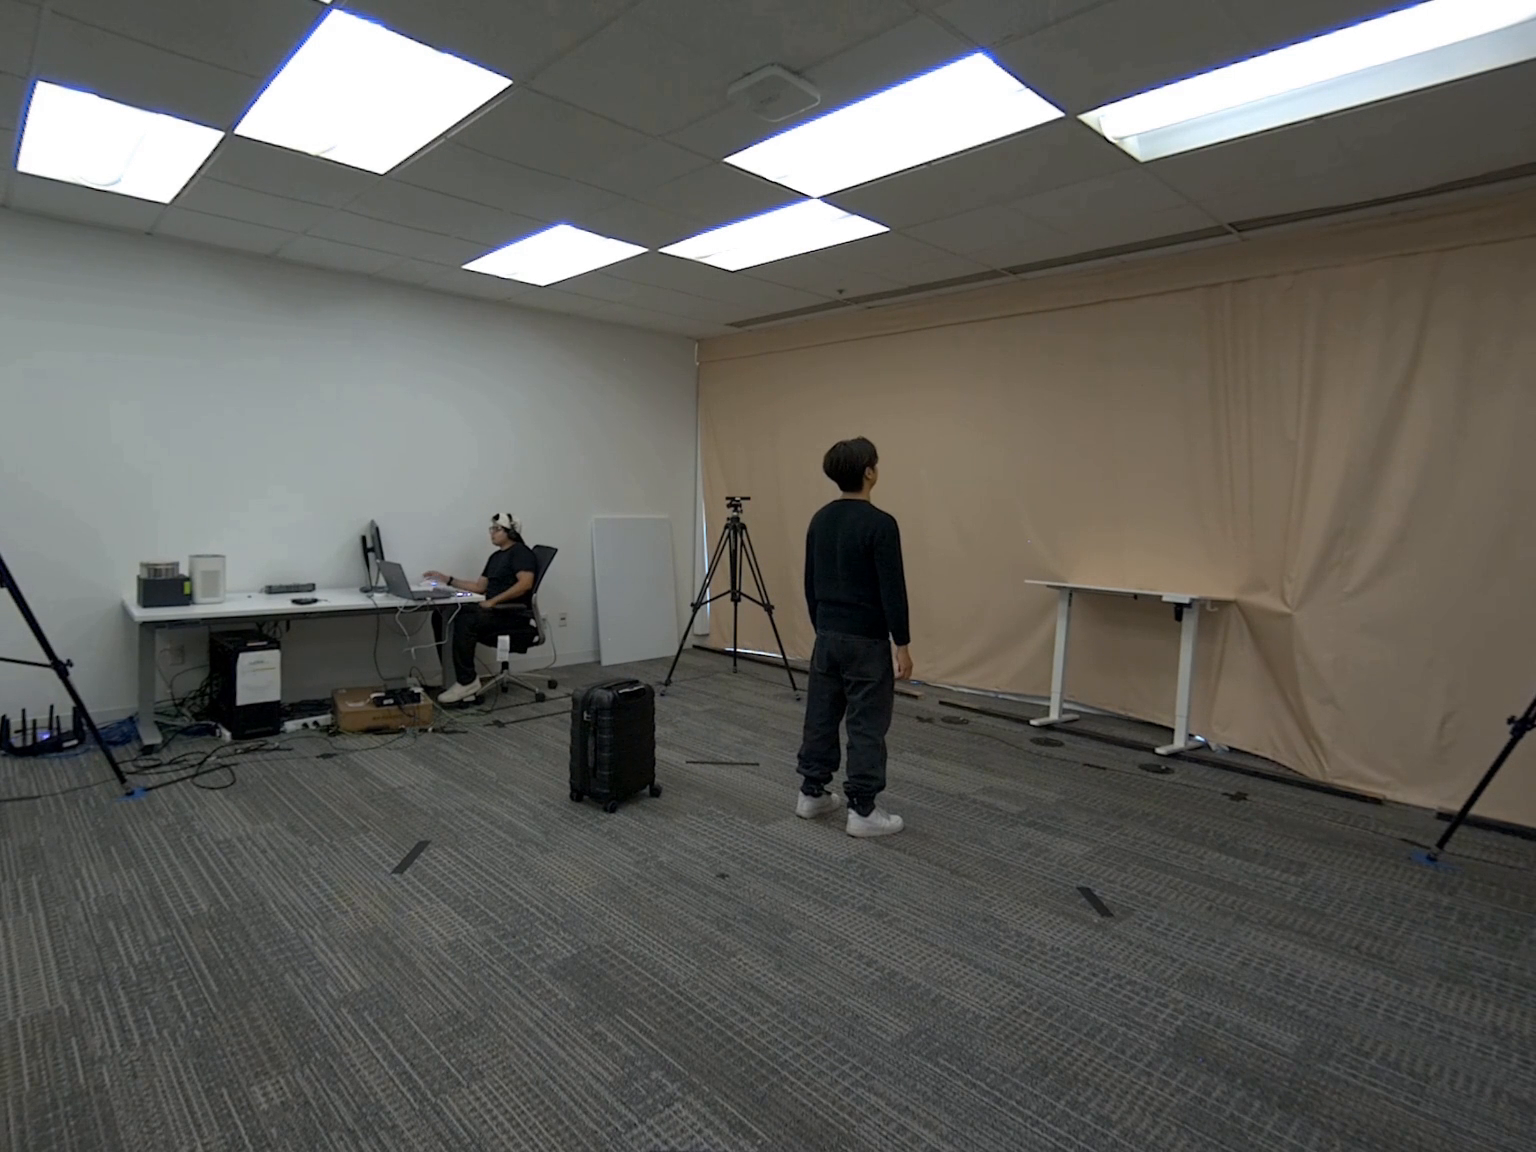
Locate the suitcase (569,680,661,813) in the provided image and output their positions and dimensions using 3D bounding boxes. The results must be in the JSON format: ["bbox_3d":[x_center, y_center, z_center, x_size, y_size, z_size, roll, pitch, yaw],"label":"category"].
[{"bbox_3d":[-0.726,0.758,3.856,0.254,0.548,0.368,1,4,34],"label":"suitcase"}]
